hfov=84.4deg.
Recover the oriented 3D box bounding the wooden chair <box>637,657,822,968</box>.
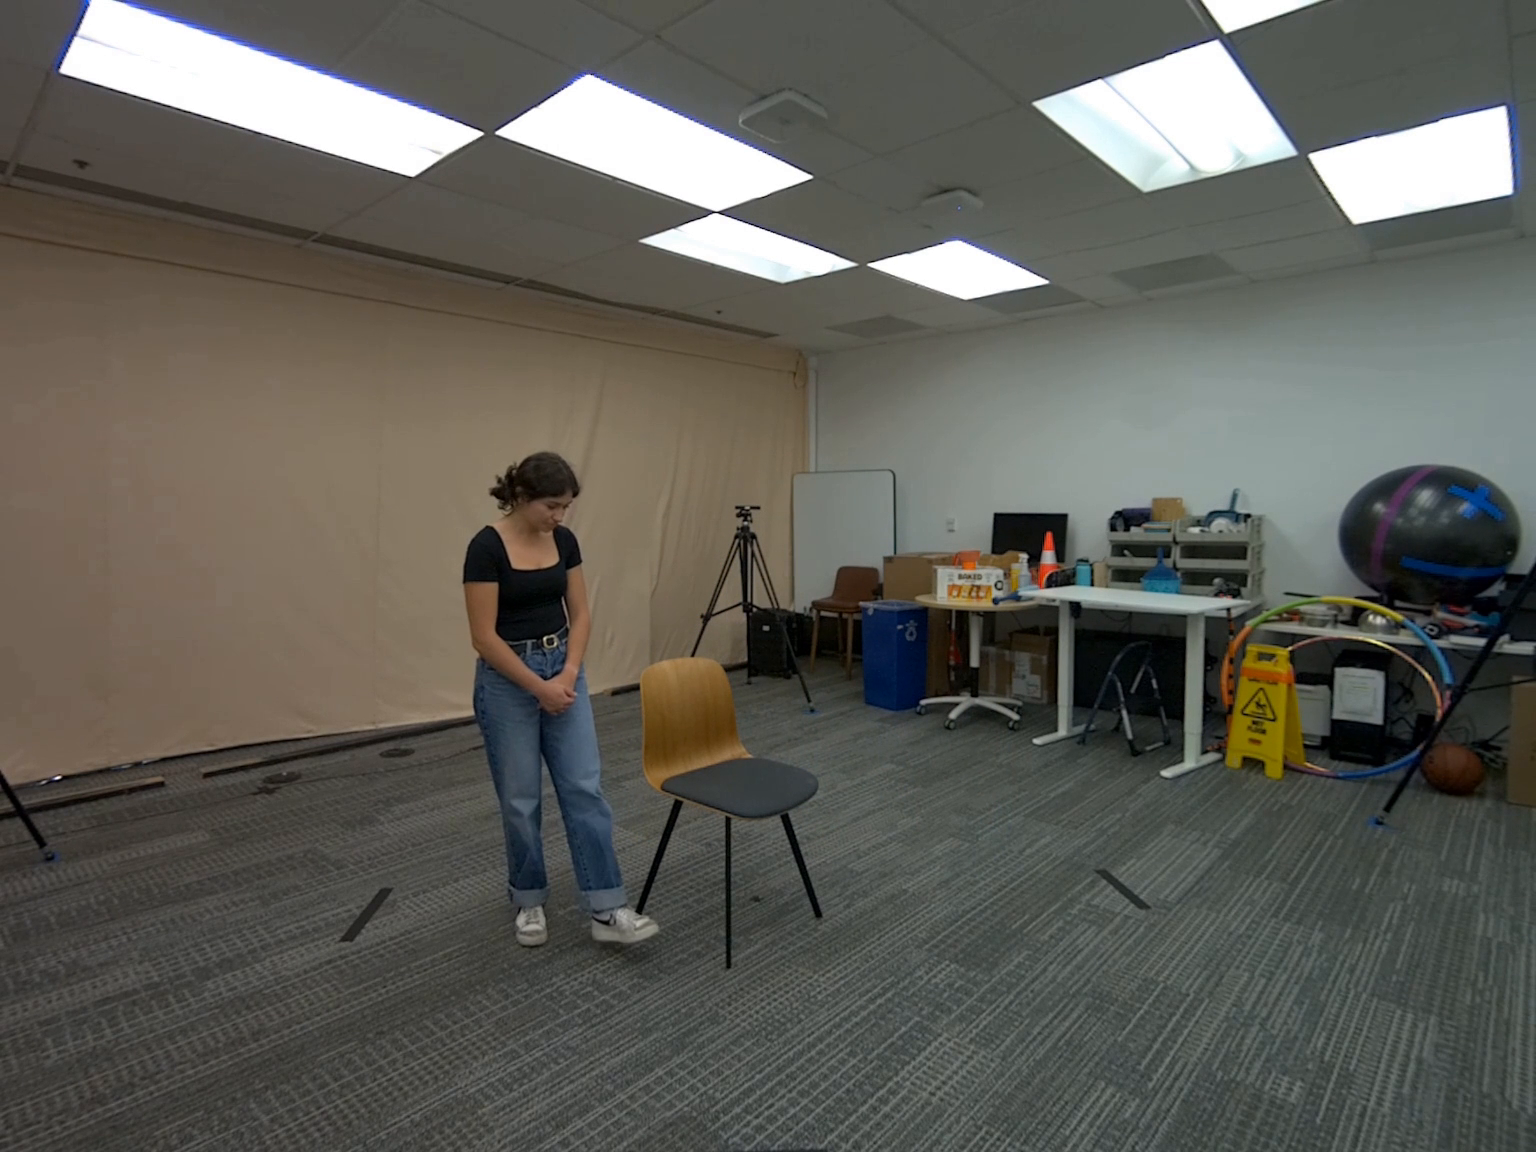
[{"bbox_3d":[-0.123,0.735,2.816,0.539,0.877,0.463,-3,1,43],"label":"wooden chair"}]
